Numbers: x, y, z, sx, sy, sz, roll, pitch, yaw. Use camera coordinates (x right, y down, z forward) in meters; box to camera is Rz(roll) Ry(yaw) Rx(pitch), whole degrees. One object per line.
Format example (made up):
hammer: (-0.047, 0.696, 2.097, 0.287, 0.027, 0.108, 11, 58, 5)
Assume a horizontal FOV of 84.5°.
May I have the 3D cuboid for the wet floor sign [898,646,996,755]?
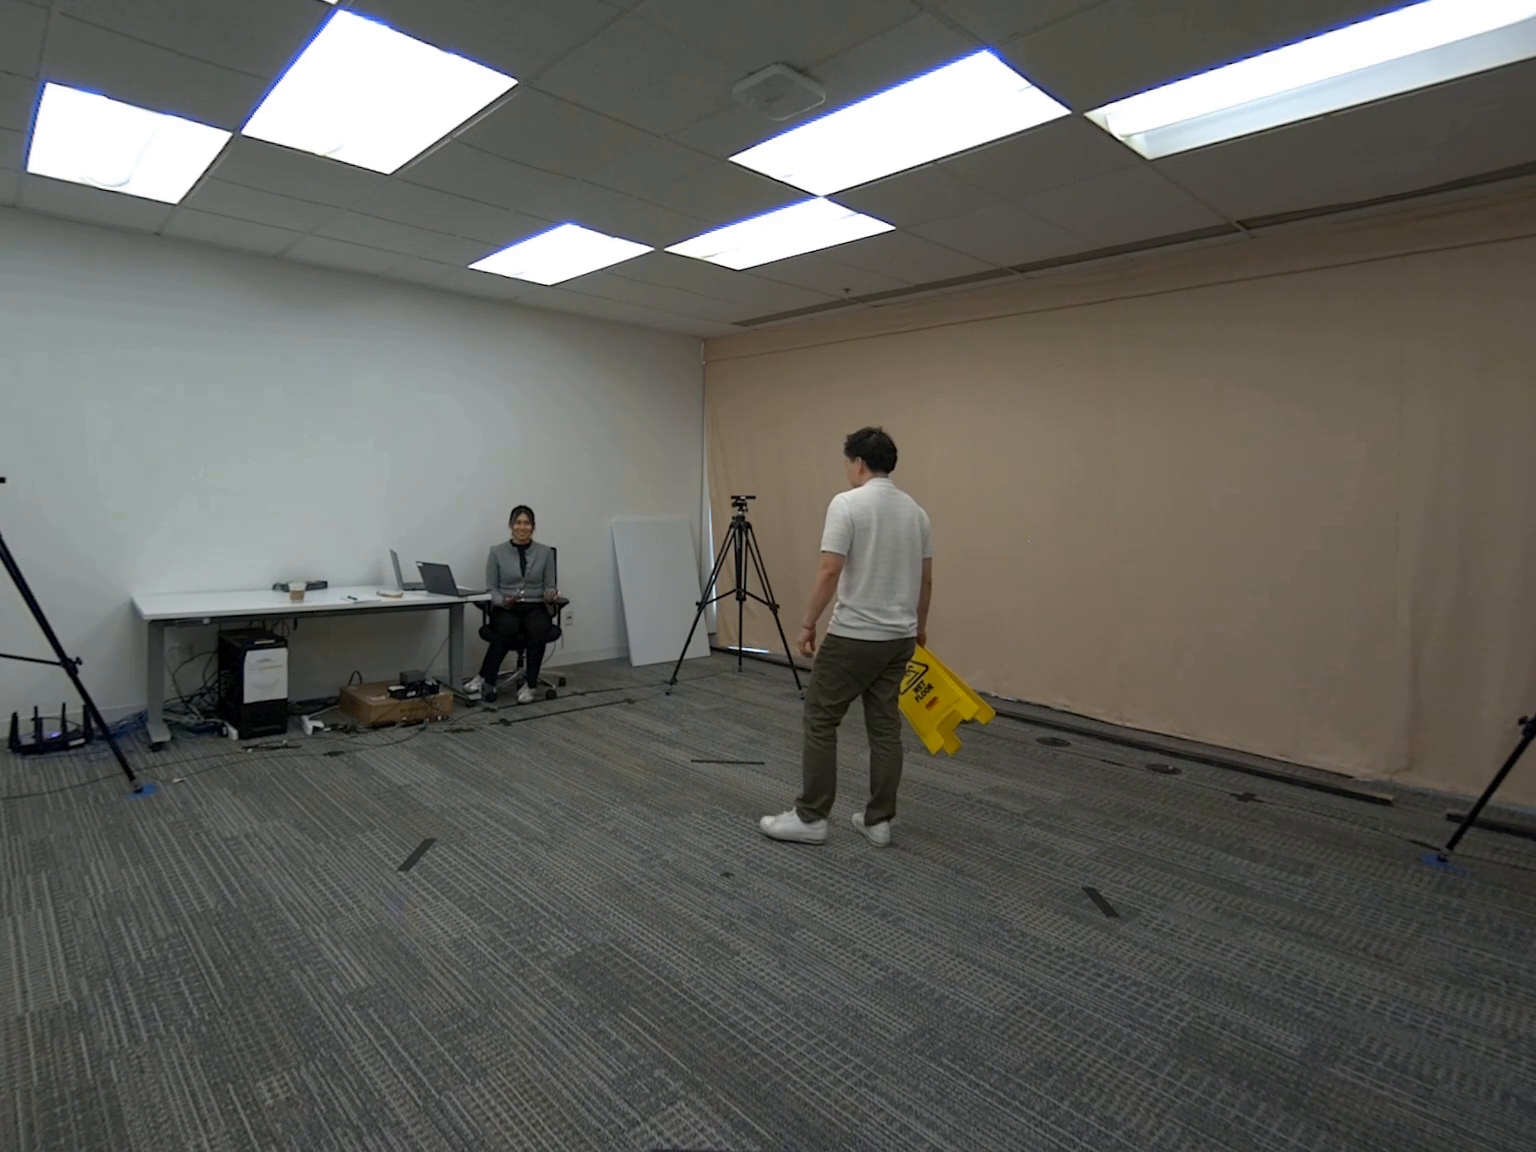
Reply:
wet floor sign: (0.647, 0.453, 3.720, 0.664, 0.282, 0.282, 49, 14, 29)
